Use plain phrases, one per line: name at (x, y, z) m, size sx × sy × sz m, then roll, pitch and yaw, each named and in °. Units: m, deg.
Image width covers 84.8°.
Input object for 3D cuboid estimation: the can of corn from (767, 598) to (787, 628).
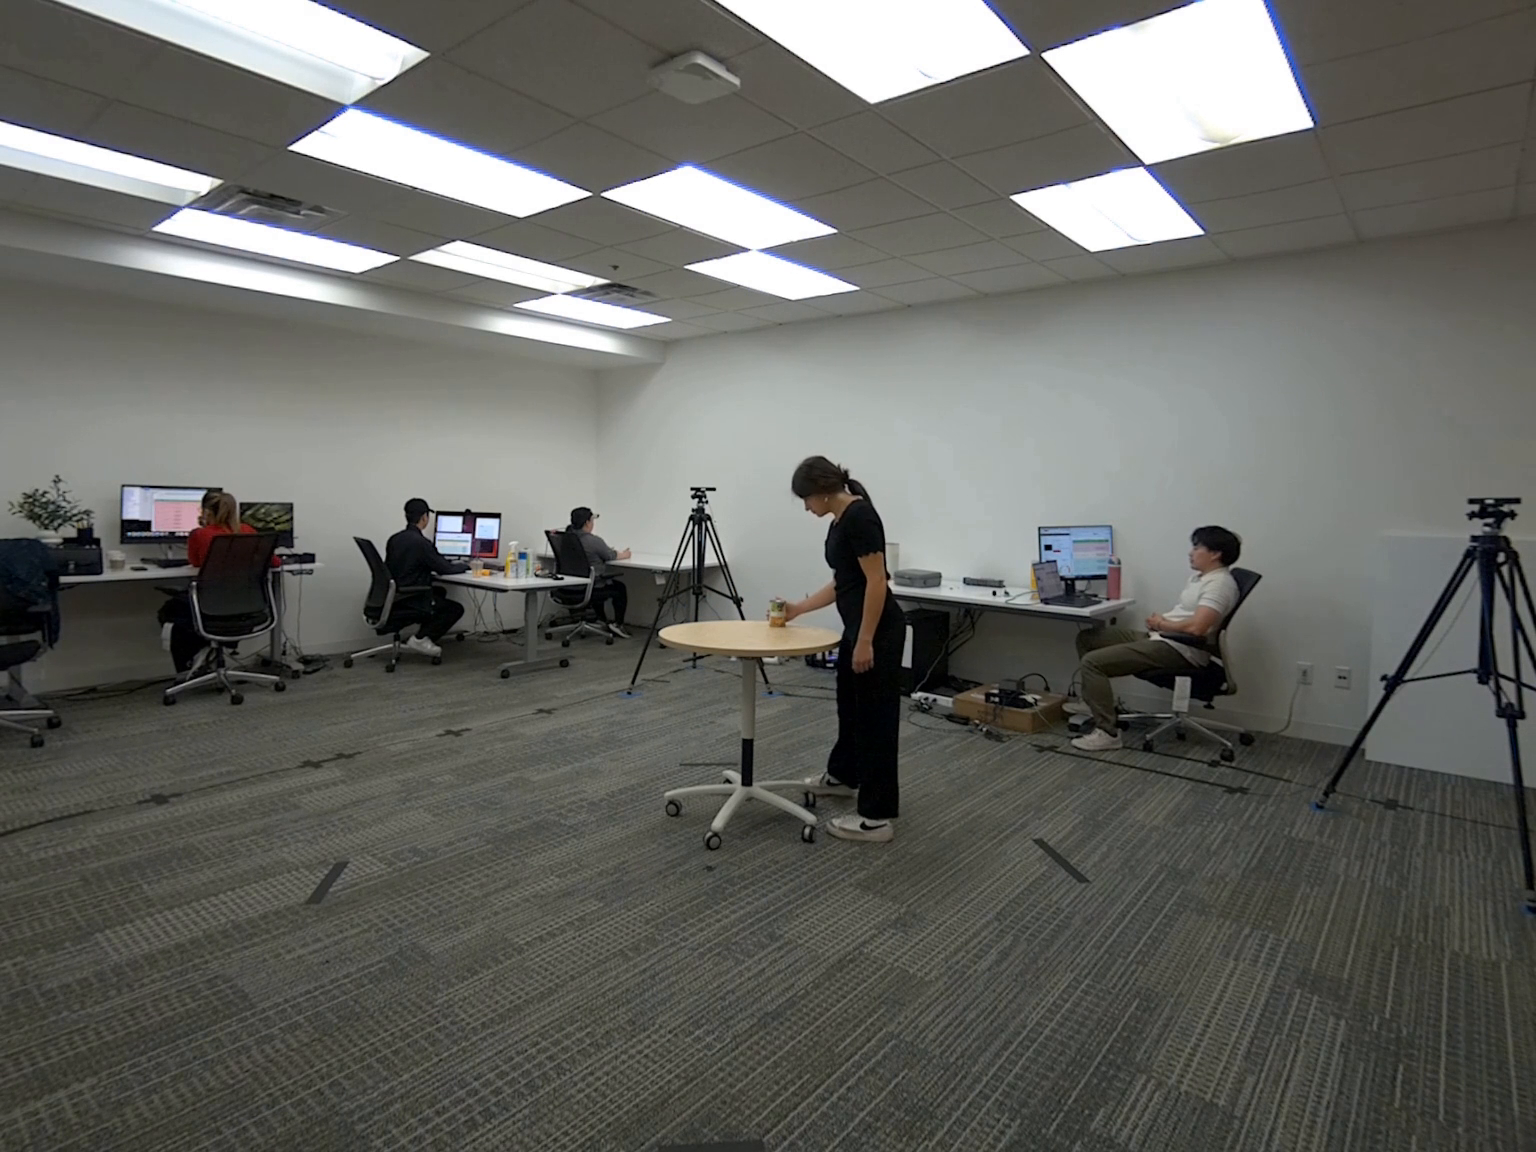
can of corn at (0.033, 0.164, 3.811) m, size 0.074 × 0.111 × 0.074 m, roll 4°, pitch 3°, yaw -2°
